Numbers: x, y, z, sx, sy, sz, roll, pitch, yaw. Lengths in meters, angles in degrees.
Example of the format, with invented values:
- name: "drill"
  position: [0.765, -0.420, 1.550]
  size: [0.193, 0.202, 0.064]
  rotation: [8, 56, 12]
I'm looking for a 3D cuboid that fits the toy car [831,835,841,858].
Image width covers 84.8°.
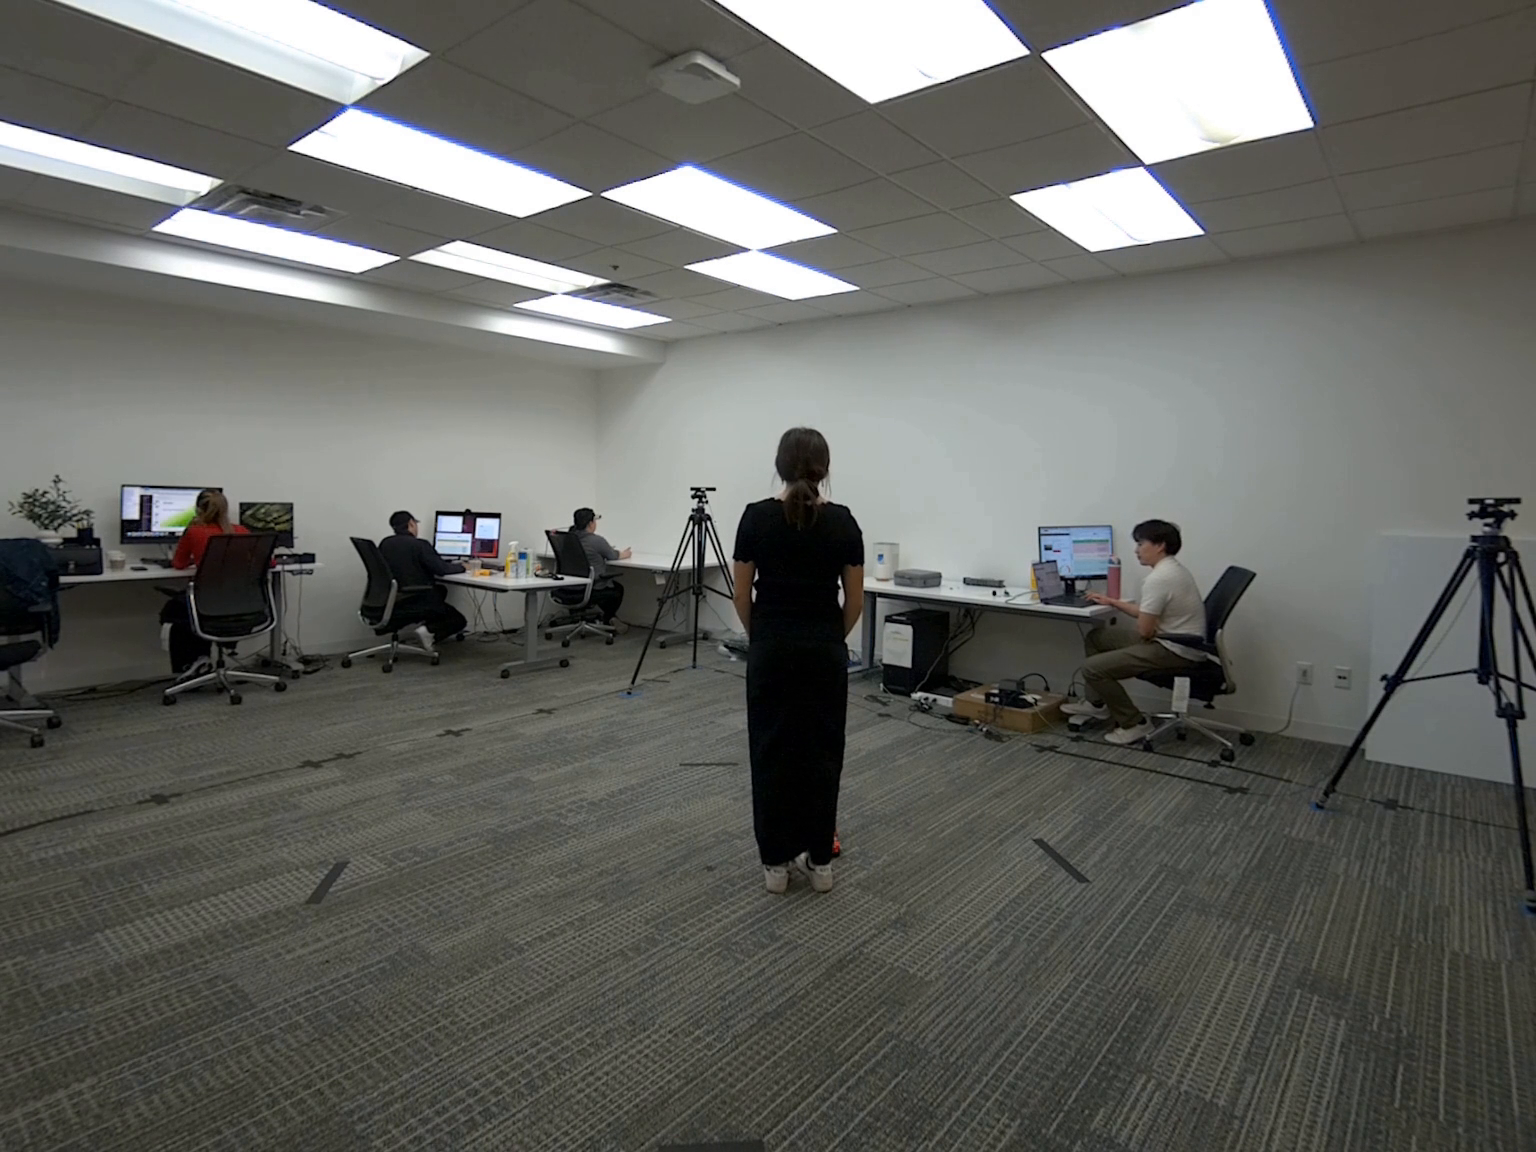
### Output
- name: "toy car"
  position: [0.210, 1.011, 3.342]
  size: [0.131, 0.082, 0.257]
  rotation: [1, 18, 2]
